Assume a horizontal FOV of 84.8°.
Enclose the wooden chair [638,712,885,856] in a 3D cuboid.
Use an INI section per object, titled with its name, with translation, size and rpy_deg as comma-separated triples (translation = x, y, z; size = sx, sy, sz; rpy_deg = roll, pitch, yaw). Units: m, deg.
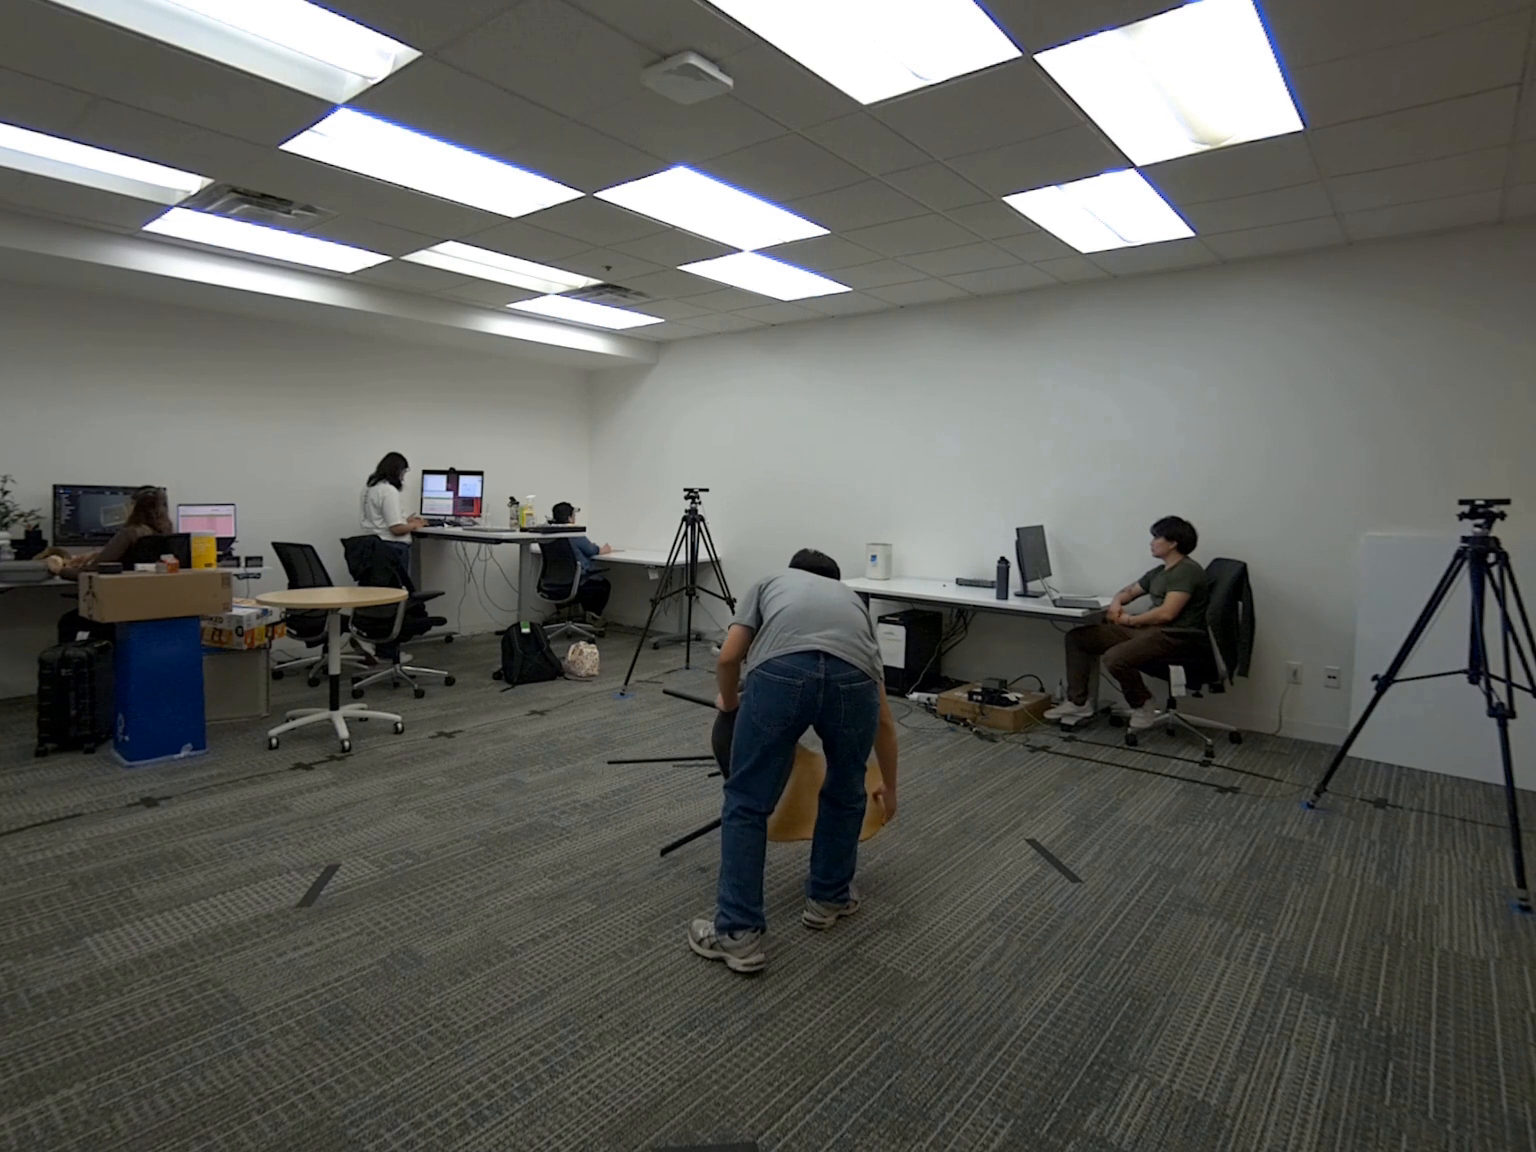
[wooden chair]
translation = -0.071, 0.672, 3.097
size = 0.898, 0.510, 0.478
rpy_deg = -8, 25, 30
